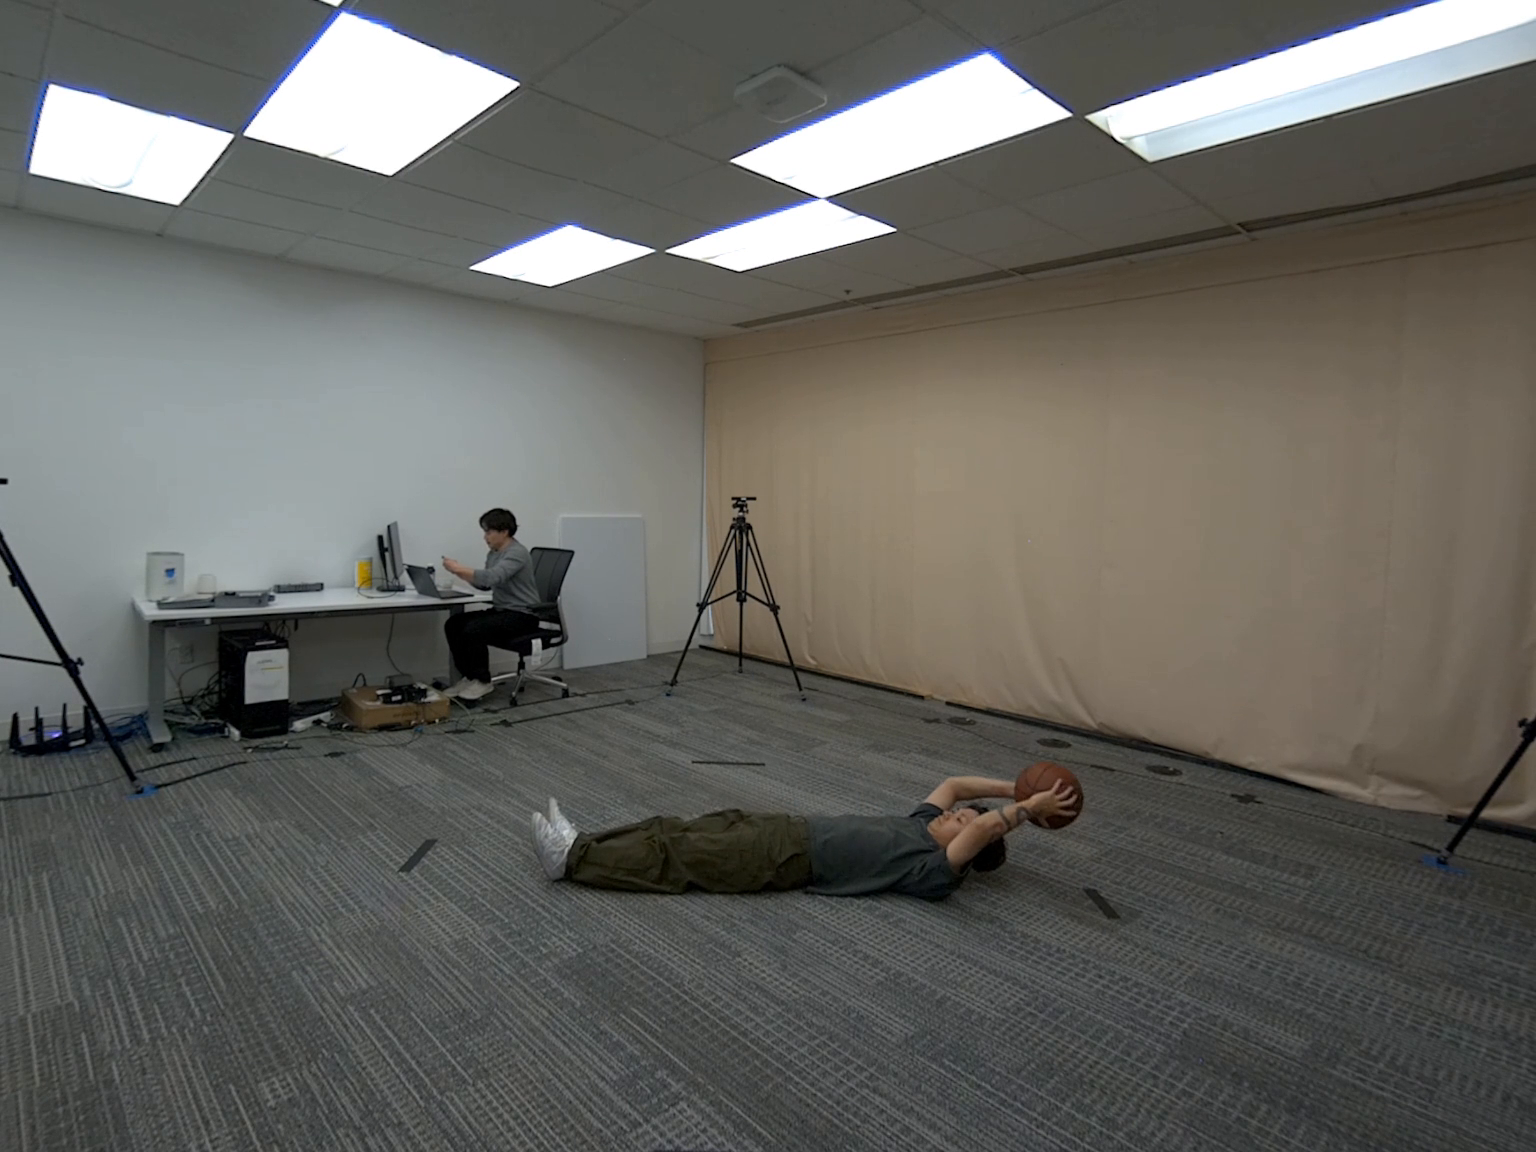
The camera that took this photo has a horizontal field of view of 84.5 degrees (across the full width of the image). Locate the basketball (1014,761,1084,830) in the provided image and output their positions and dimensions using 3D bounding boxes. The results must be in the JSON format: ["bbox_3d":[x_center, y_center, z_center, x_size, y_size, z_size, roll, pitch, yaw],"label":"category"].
[{"bbox_3d":[1.013,0.795,3.086,0.236,0.235,0.237,1,4,-1],"label":"basketball"}]
